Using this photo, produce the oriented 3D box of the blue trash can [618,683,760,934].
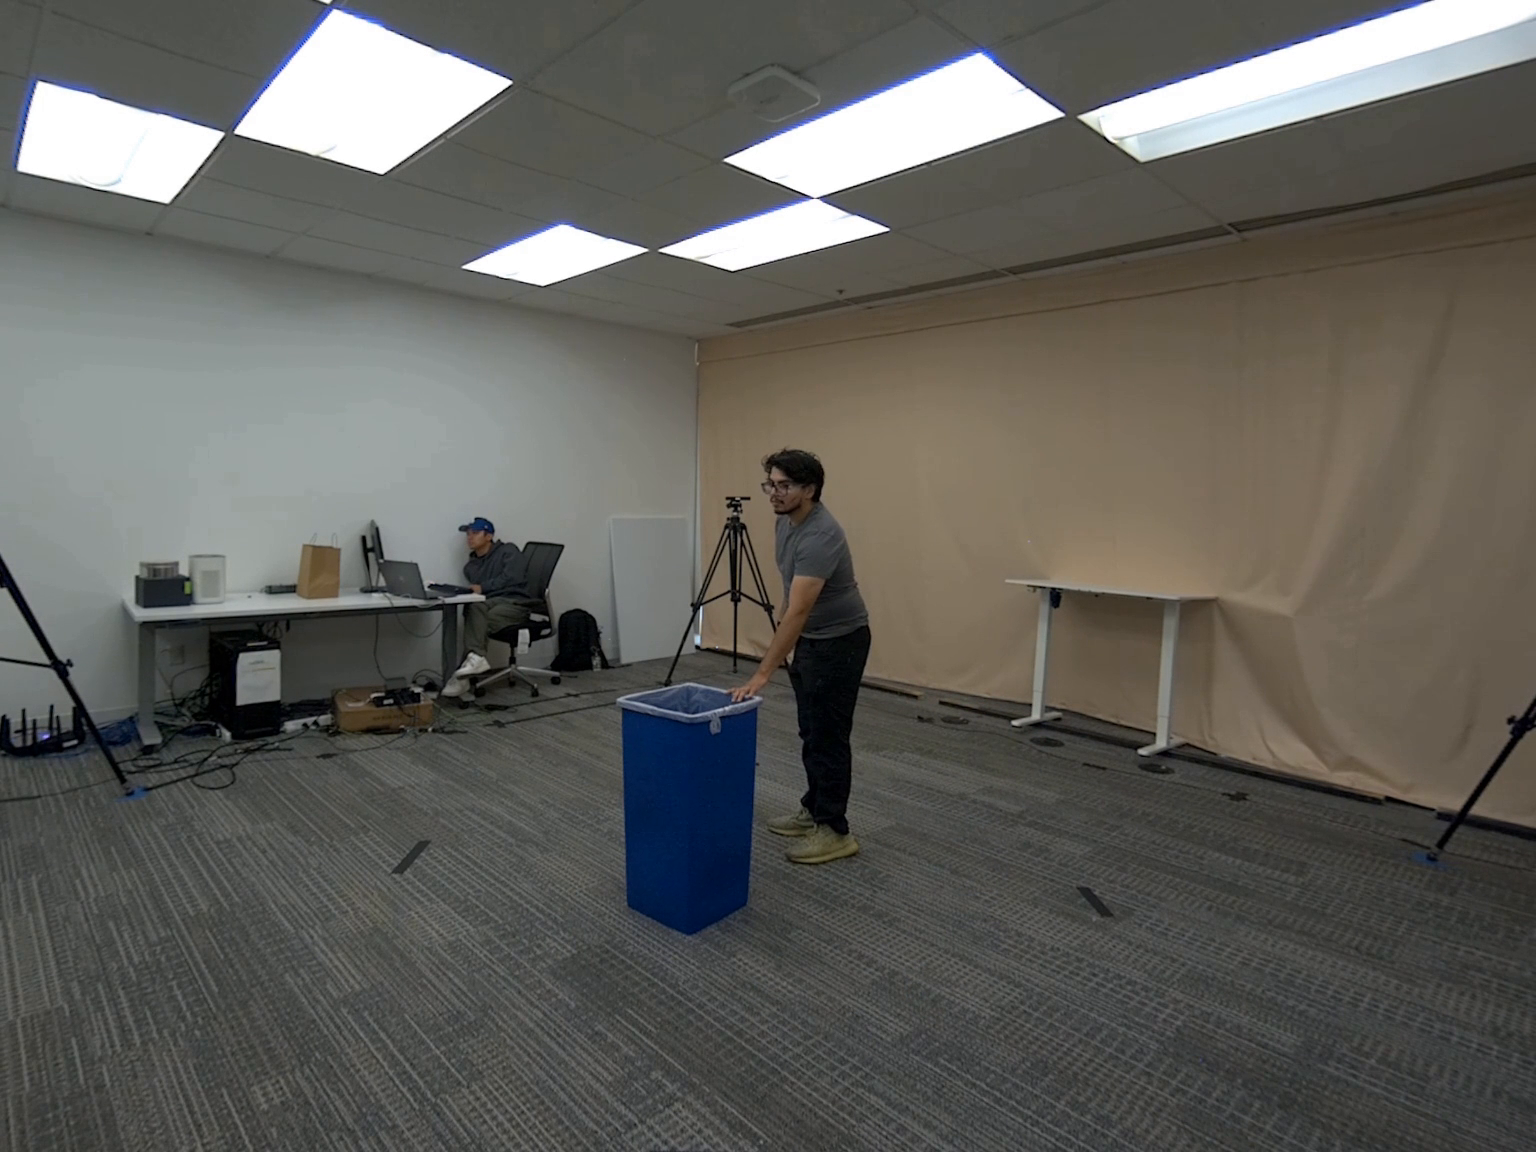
[{"bbox_3d":[-0.282,0.767,2.862,0.383,0.712,0.369,4,4,39],"label":"blue trash can"}]
